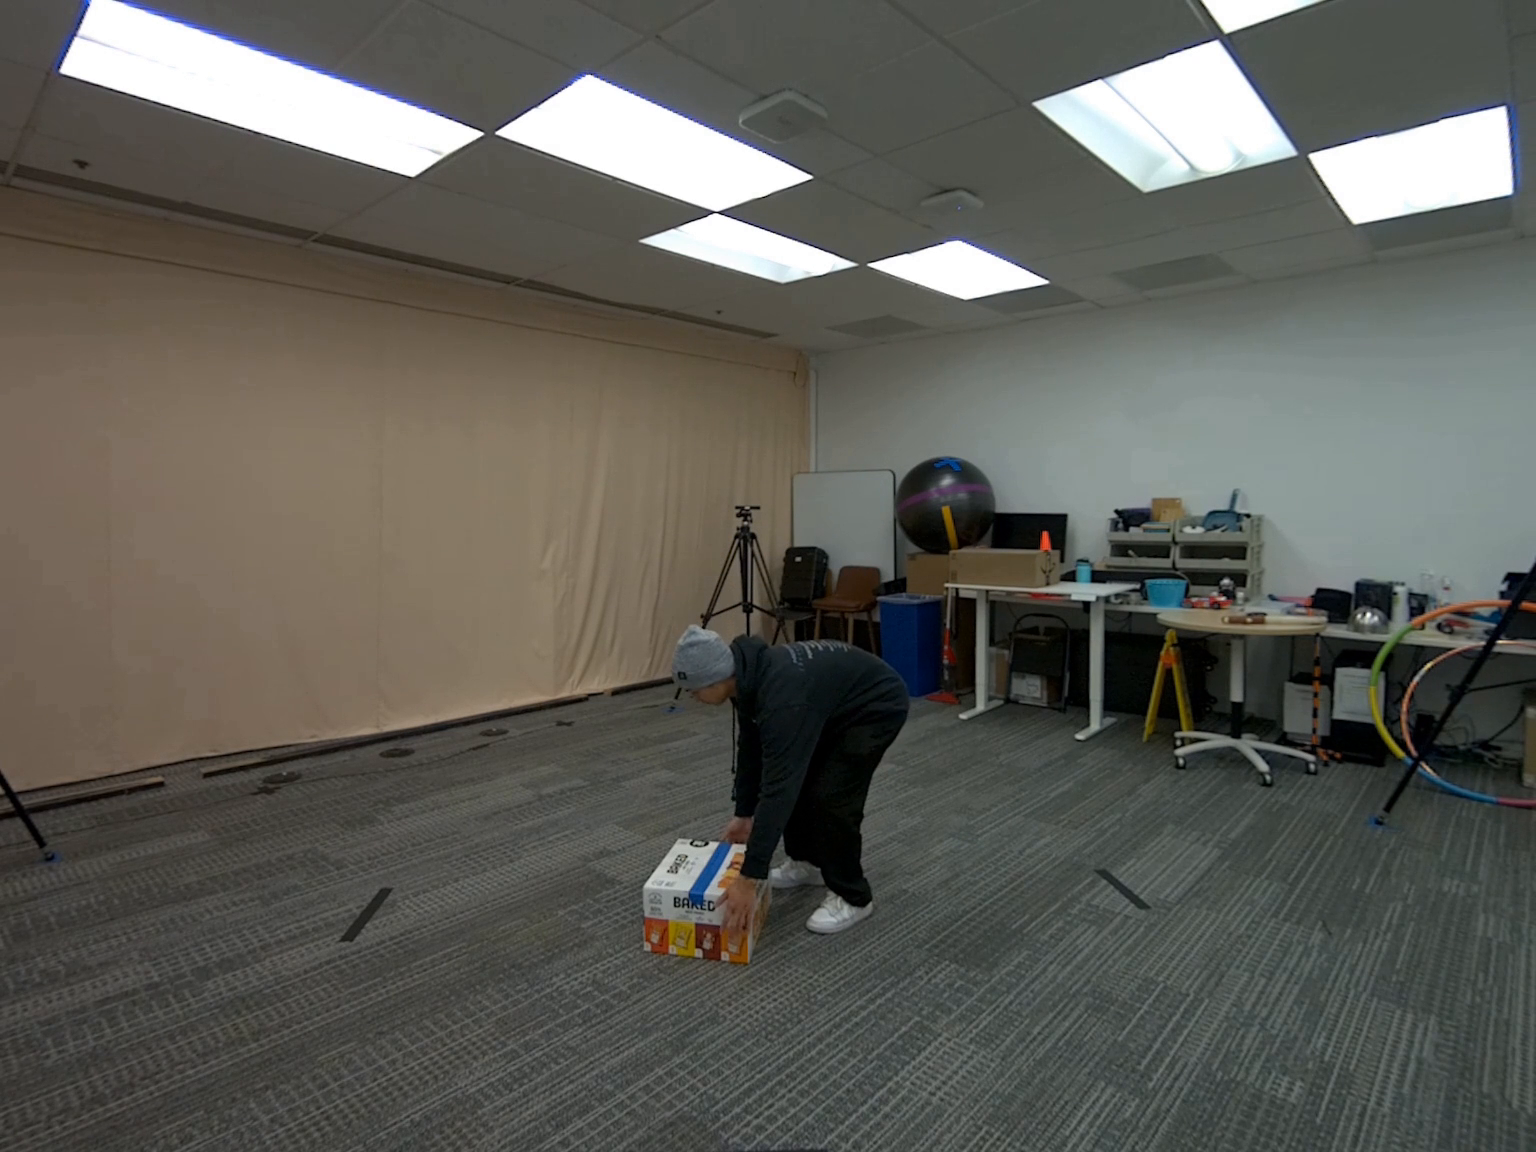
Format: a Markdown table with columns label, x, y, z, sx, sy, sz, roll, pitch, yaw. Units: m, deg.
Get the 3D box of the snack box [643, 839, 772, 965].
| label | x | y | z | sx | sy | sz | roll | pitch | yaw |
| --- | --- | --- | --- | --- | --- | --- | --- | --- | --- |
| snack box | -0.187 | 1.061 | 2.783 | 0.345 | 0.205 | 0.400 | 1 | 5 | 12 |
